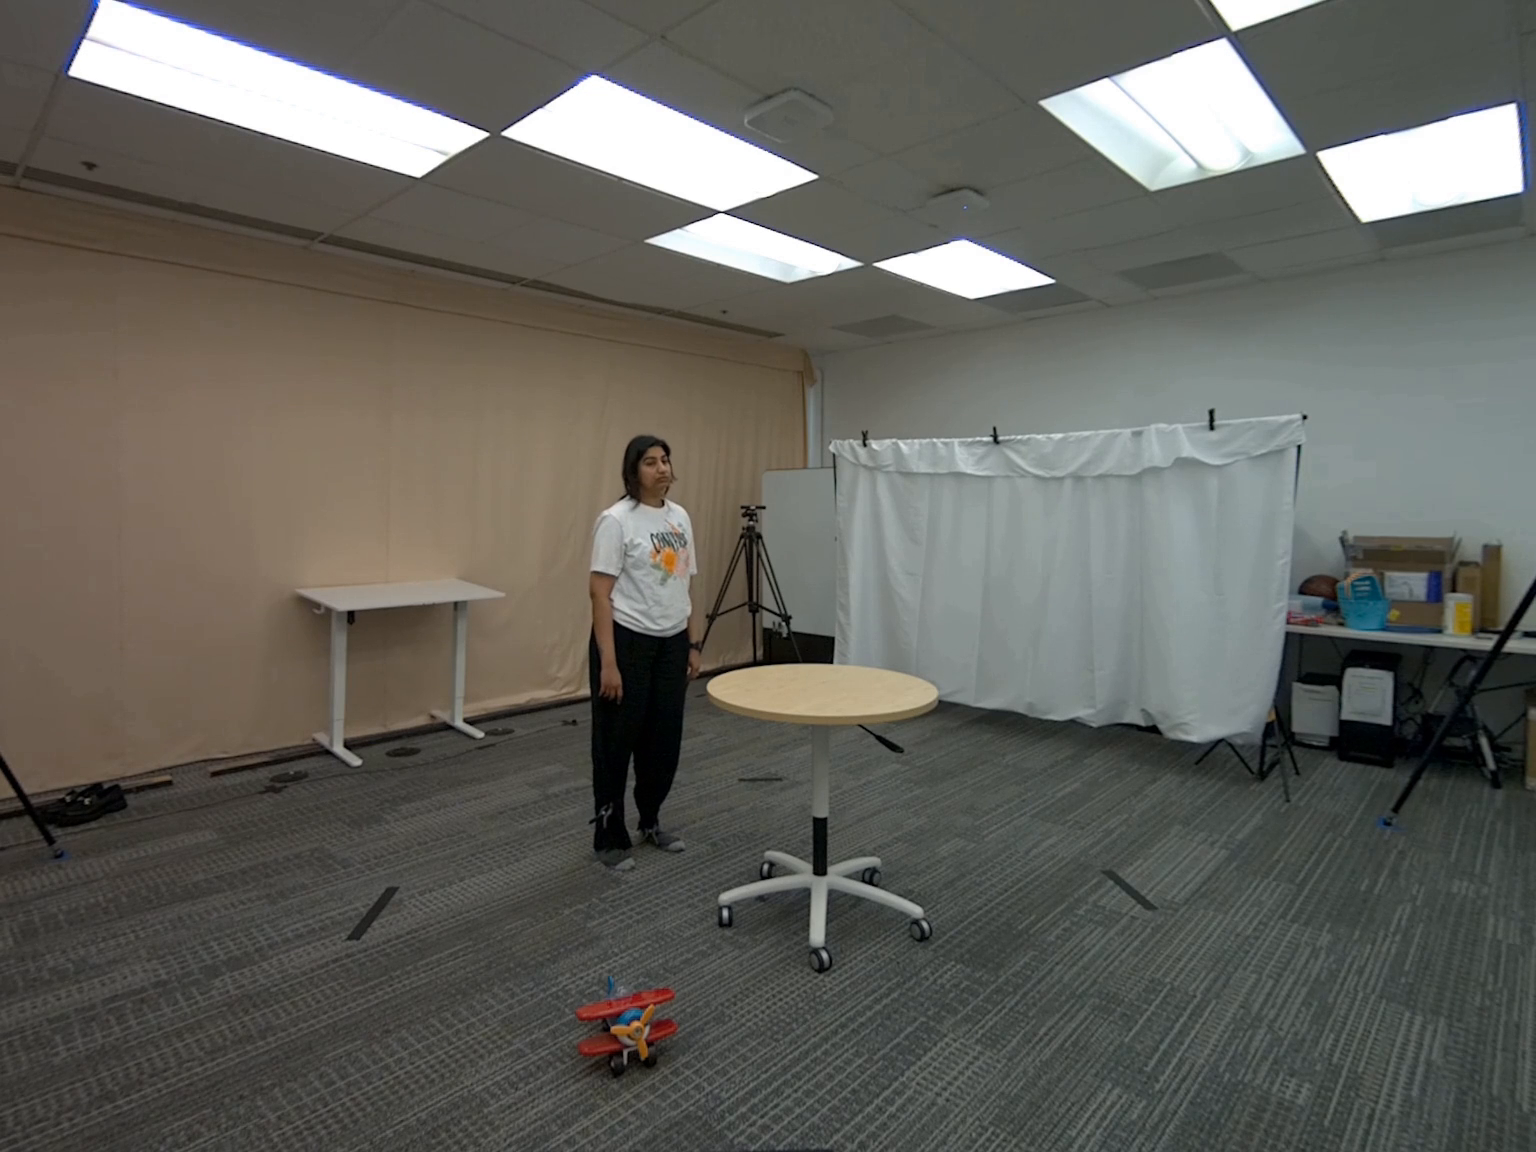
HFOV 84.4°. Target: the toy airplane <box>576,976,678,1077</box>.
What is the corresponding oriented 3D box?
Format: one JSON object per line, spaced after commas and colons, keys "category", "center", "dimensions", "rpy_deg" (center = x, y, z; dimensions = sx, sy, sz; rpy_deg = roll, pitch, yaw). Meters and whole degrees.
{"category": "toy airplane", "center": [-0.384, 1.144, 2.139], "dimensions": [0.268, 0.156, 0.244], "rpy_deg": [4, 6, 38]}
